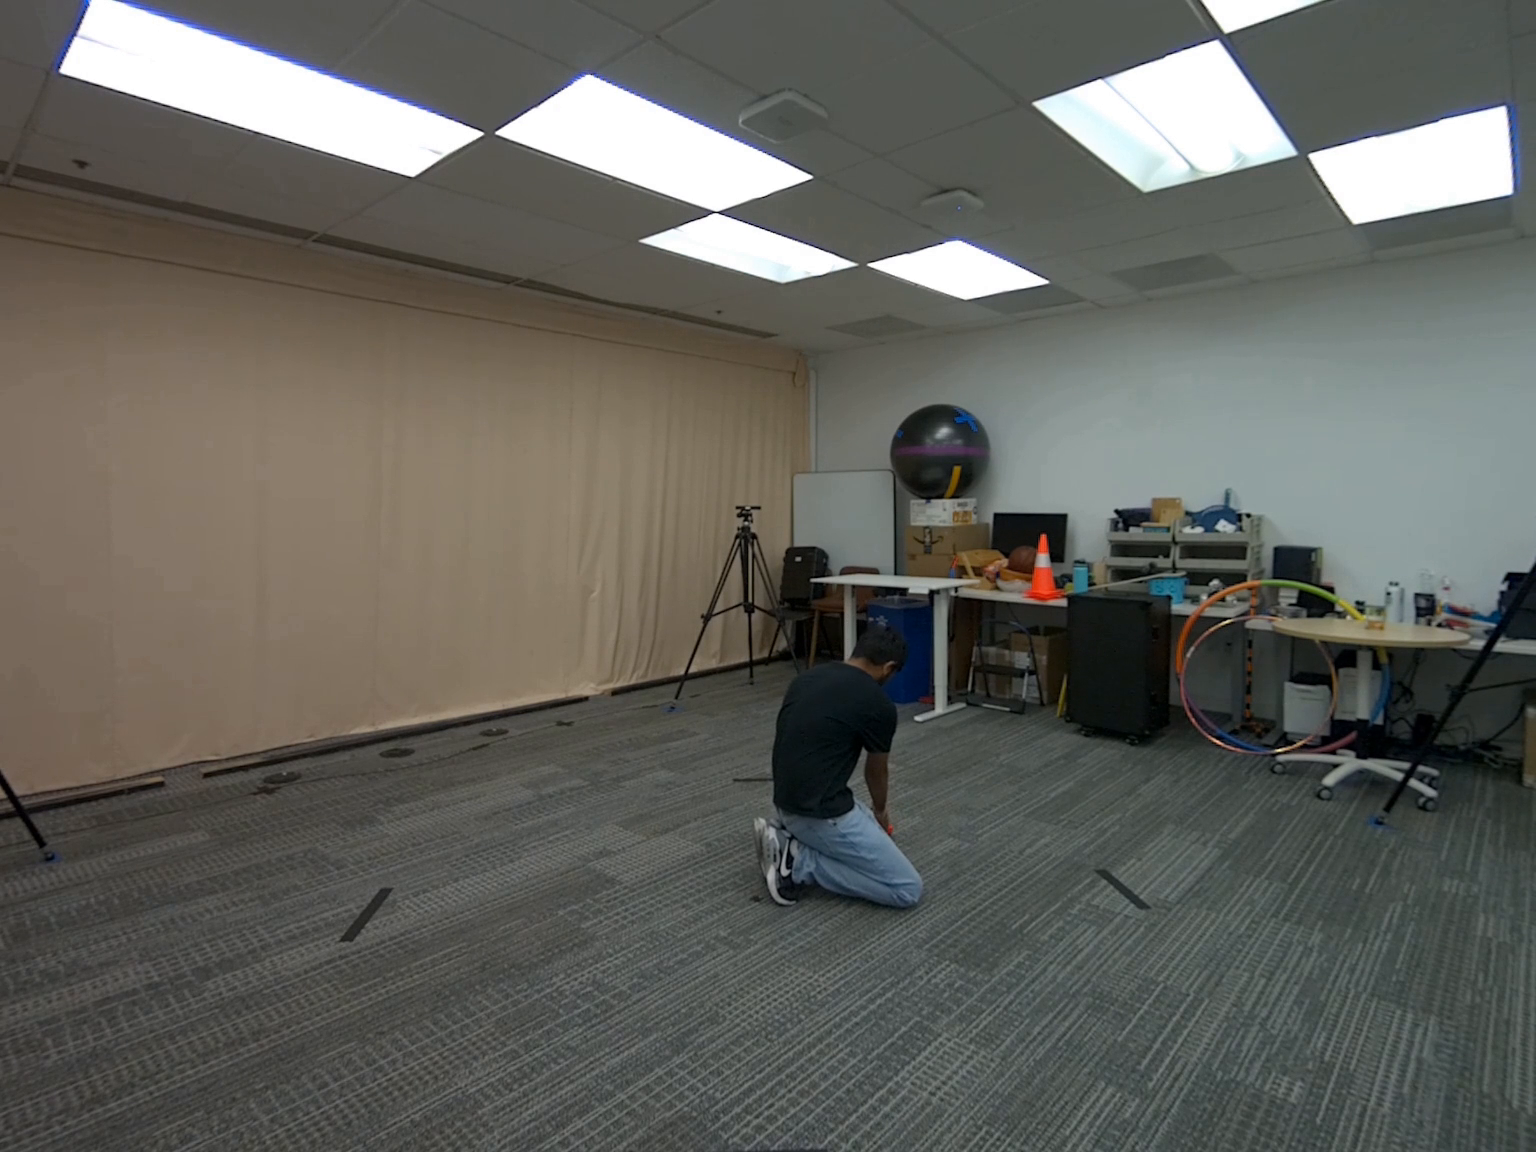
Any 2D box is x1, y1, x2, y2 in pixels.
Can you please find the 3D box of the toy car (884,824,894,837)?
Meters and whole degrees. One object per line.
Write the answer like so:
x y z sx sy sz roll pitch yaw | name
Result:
0.411 1.056 3.604 0.126 0.083 0.264 -4 15 -42 | toy car
